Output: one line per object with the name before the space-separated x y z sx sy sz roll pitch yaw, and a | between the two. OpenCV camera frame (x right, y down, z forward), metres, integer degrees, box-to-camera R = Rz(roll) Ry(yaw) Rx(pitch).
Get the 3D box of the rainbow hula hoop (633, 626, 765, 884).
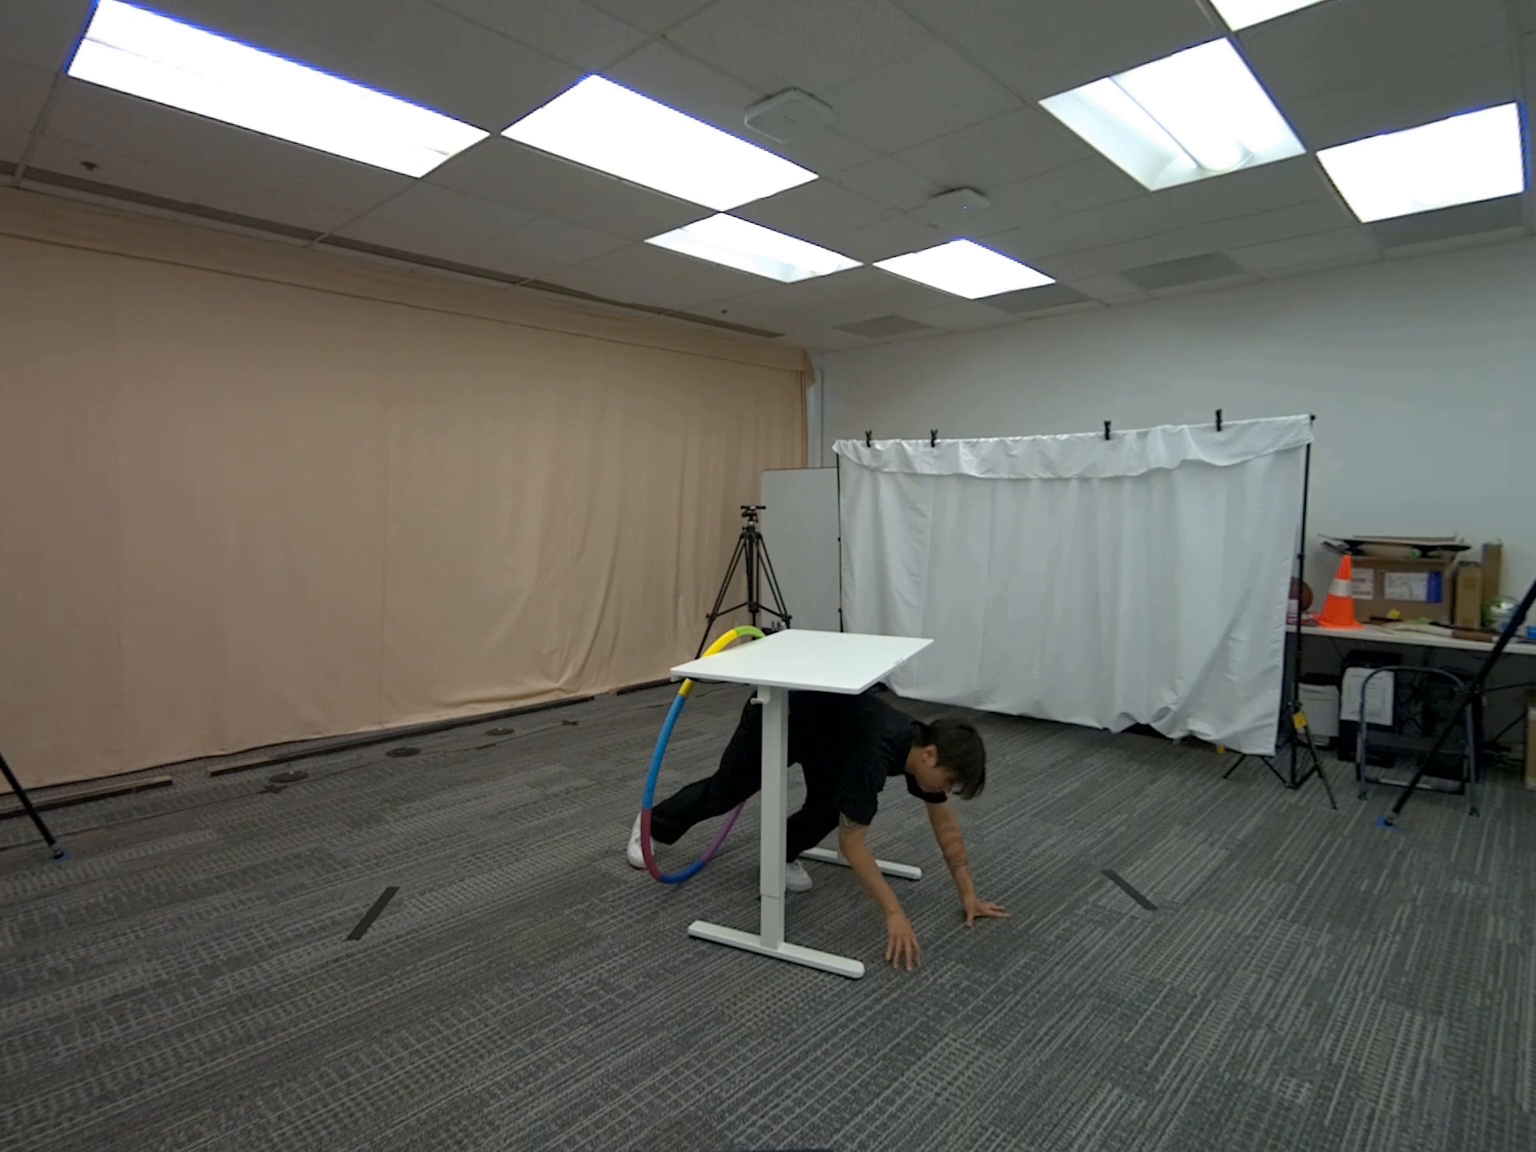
rainbow hula hoop | -0.185 0.662 3.132 0.036 0.975 0.956 14 9 22
